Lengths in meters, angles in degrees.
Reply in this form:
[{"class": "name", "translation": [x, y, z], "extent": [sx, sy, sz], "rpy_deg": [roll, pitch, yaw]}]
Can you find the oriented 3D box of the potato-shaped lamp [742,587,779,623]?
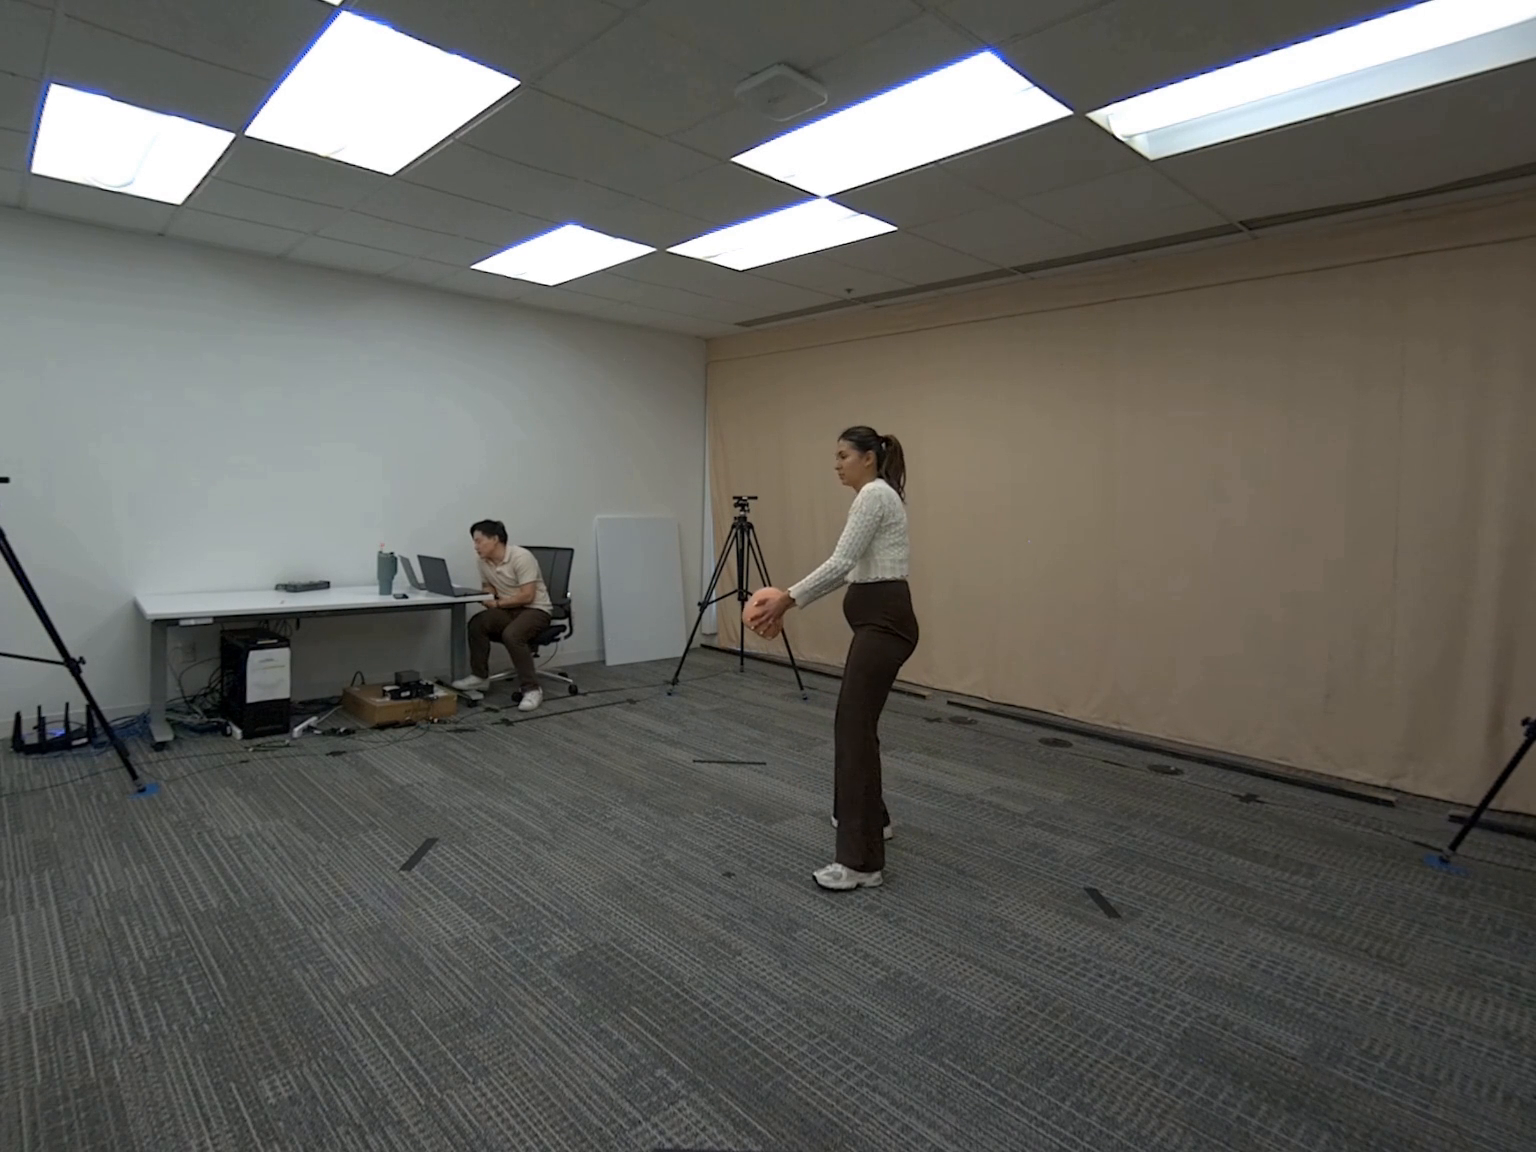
[{"class": "potato-shaped lamp", "translation": [0.004, 0.146, 3.357], "extent": [0.171, 0.198, 0.165], "rpy_deg": [34, 5, -3]}]
